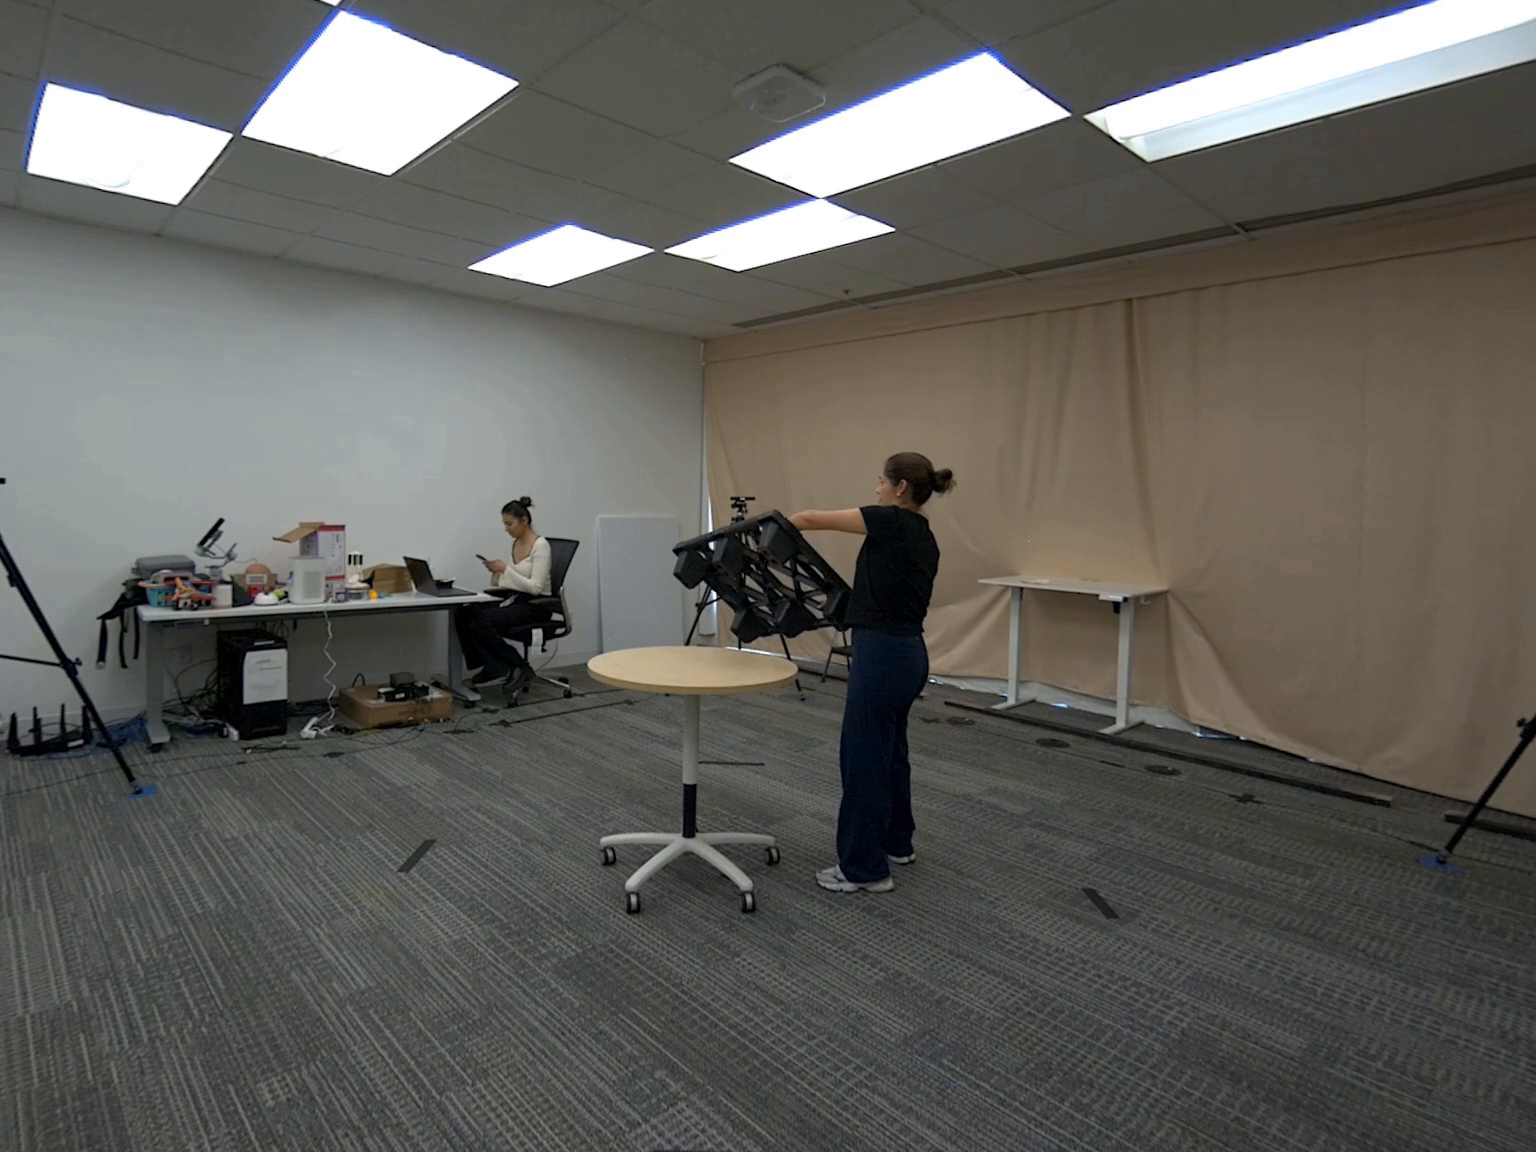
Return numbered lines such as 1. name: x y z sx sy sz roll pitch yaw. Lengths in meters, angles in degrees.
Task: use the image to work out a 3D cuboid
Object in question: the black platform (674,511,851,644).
1. black platform: -0.036 0.052 3.464 0.593 0.144 0.818 46 -30 -19
